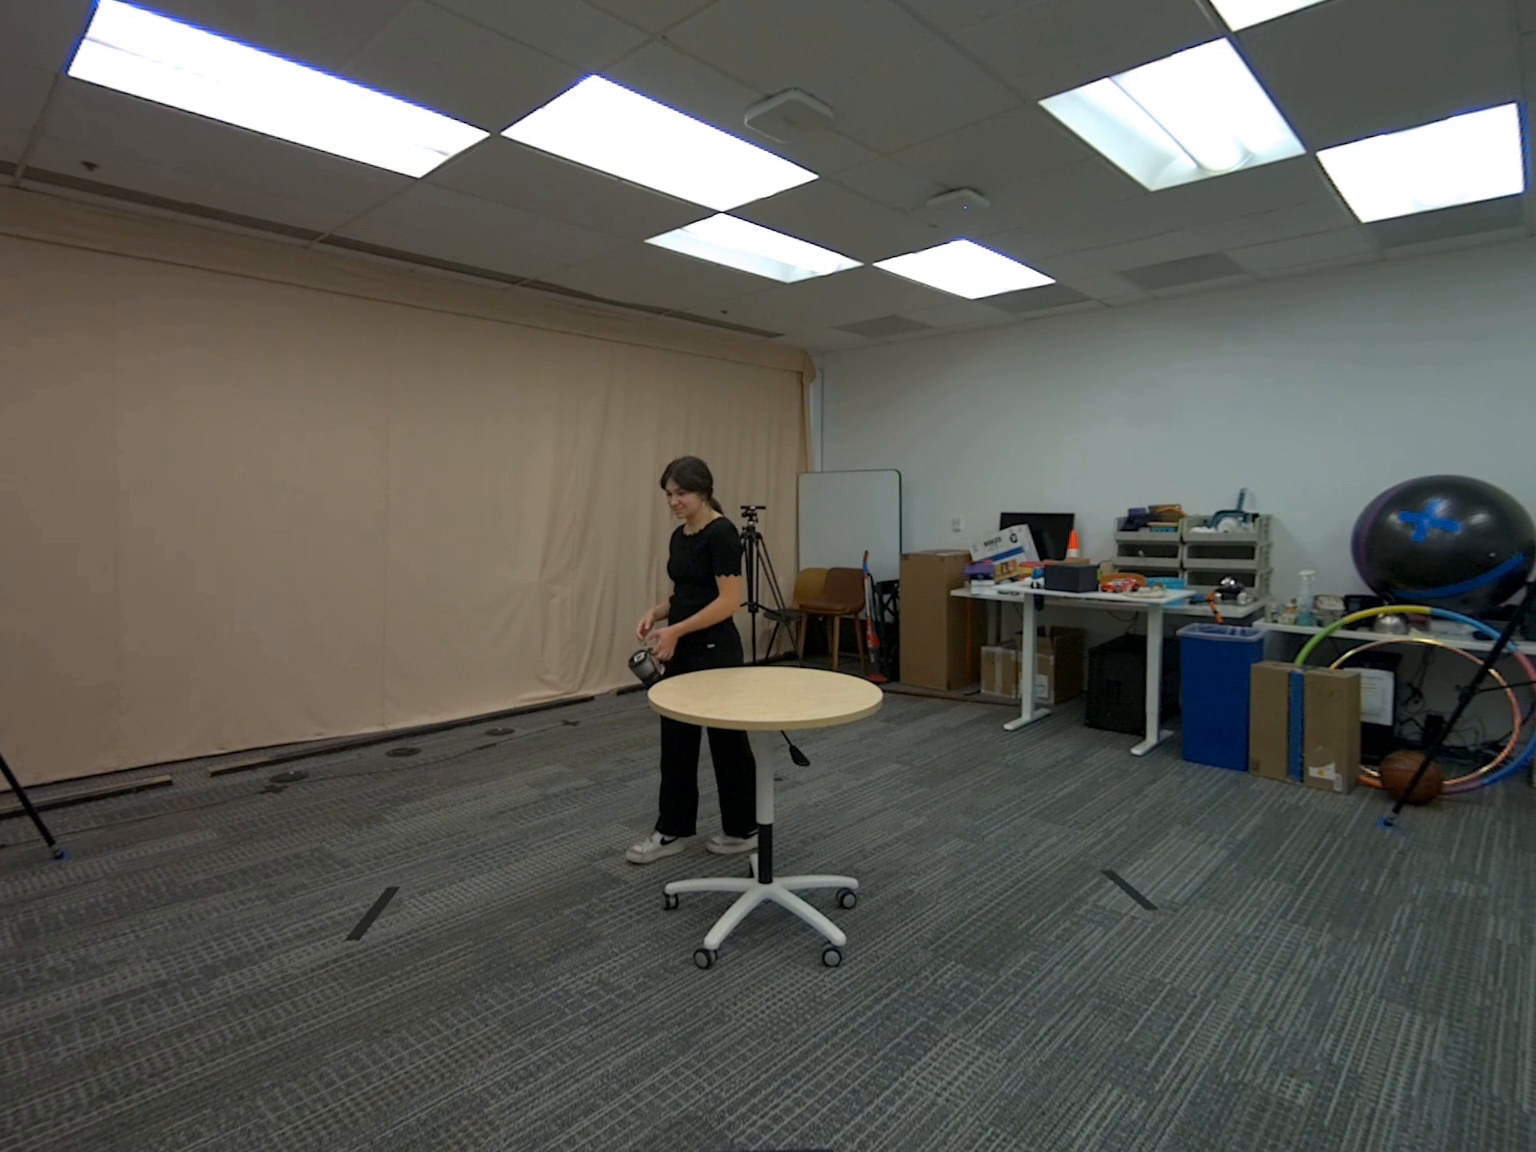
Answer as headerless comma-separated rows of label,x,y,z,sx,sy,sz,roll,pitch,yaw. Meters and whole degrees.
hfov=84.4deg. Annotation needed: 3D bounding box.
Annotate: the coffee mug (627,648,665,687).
coffee mug,-0.423,0.358,3.164,0.121,0.198,0.090,-41,23,-12
